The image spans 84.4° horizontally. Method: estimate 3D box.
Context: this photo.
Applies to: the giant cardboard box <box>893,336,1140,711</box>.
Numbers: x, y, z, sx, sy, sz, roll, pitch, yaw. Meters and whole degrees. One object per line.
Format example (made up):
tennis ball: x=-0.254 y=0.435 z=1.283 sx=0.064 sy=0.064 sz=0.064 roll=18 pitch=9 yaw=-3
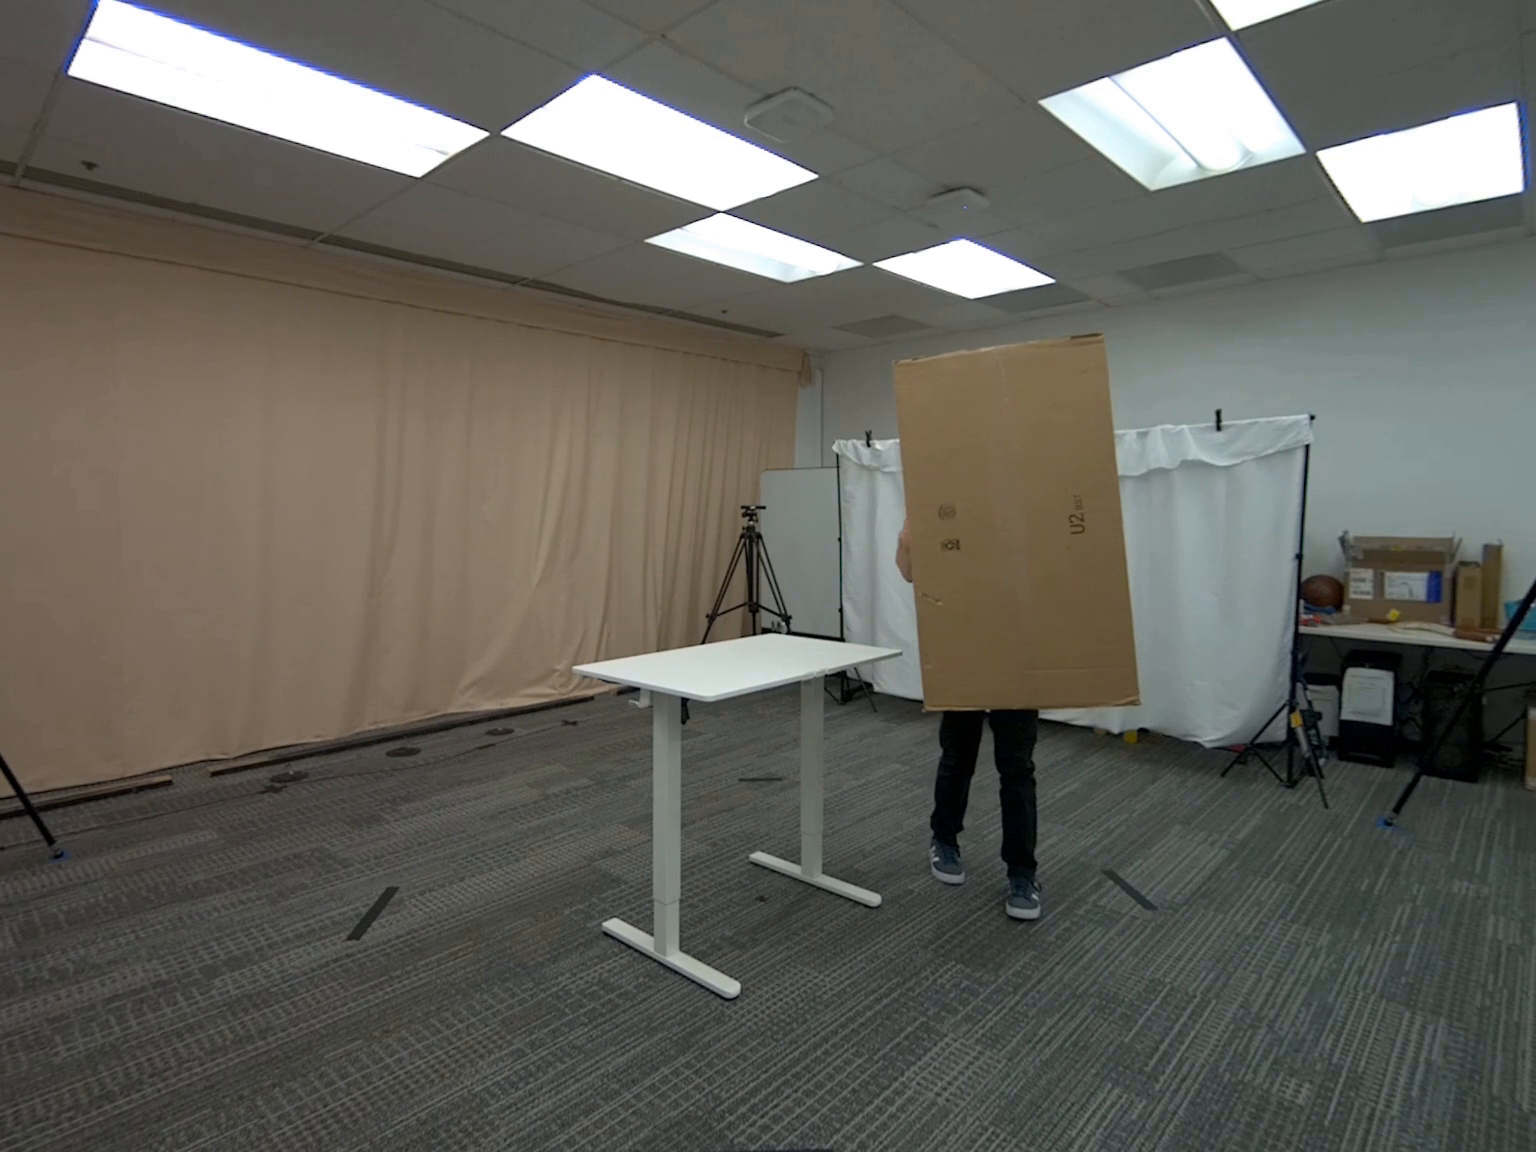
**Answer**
giant cardboard box: x=0.736 y=-0.150 z=2.558 sx=0.587 sy=1.026 sz=0.419 roll=-5 pitch=-1 yaw=16
